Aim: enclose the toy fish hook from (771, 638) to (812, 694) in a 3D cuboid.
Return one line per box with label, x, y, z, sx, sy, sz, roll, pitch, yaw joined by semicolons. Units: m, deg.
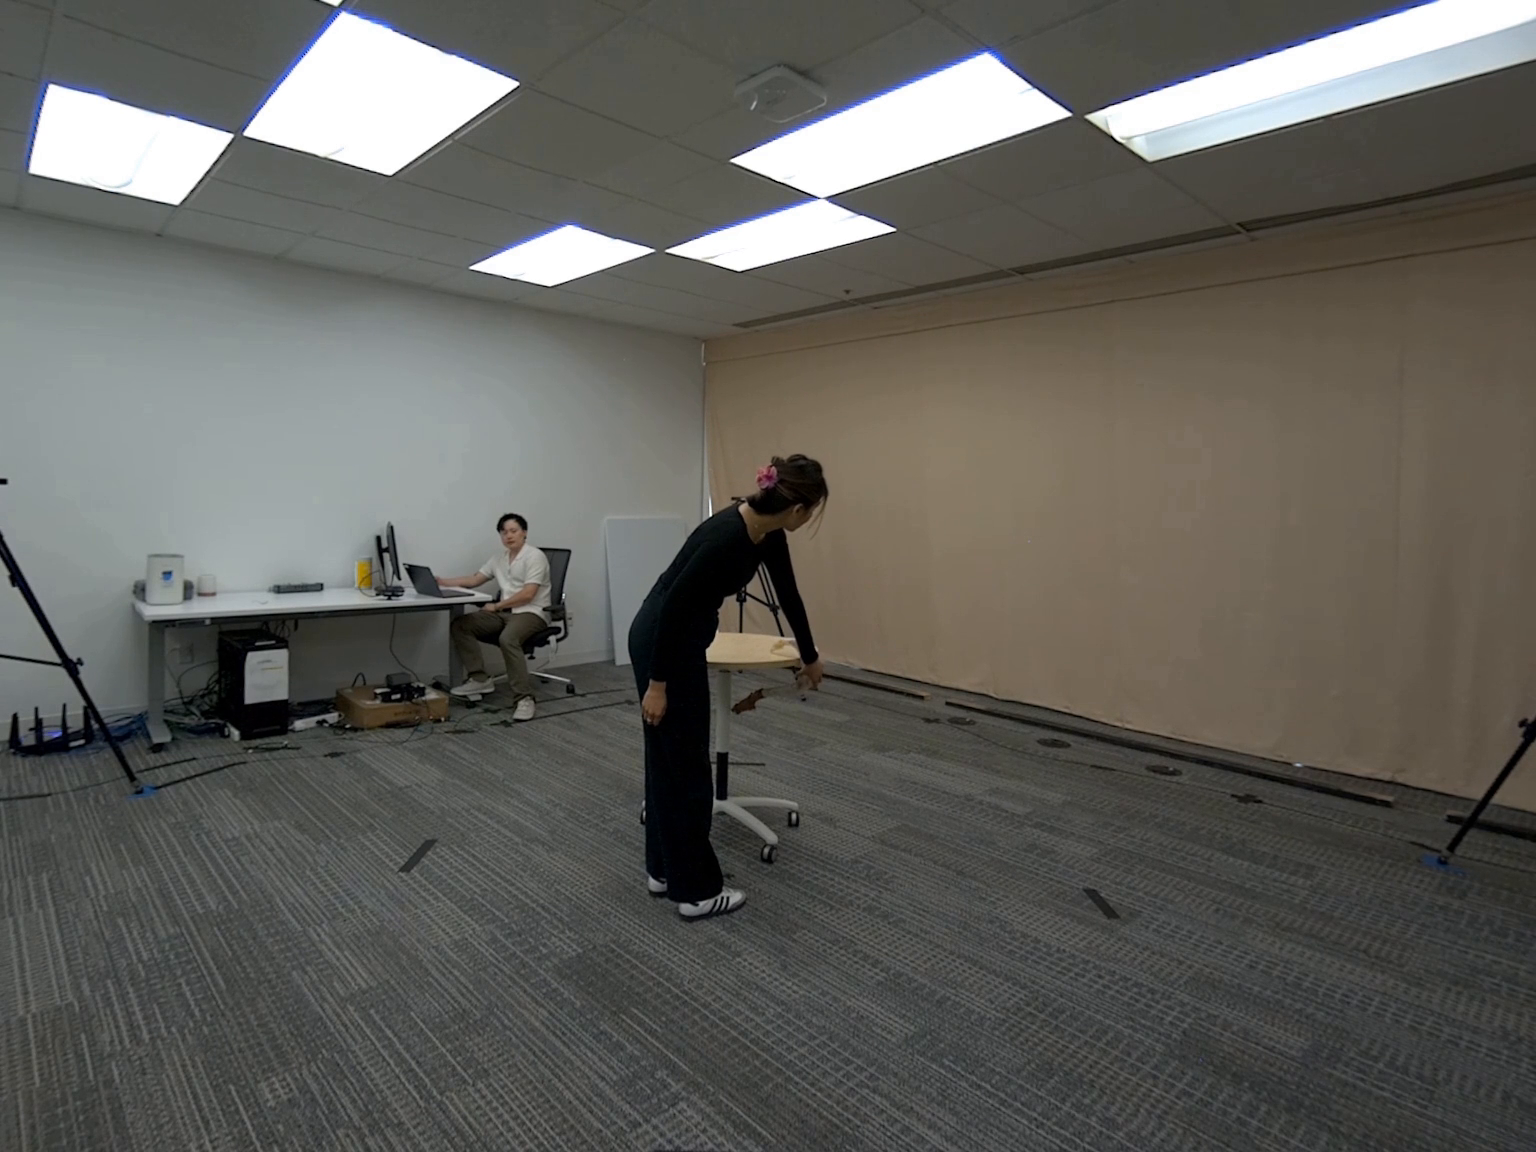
toy fish hook;0.008;0.410;3.353;0.510;0.228;0.047;-32;-17;35
